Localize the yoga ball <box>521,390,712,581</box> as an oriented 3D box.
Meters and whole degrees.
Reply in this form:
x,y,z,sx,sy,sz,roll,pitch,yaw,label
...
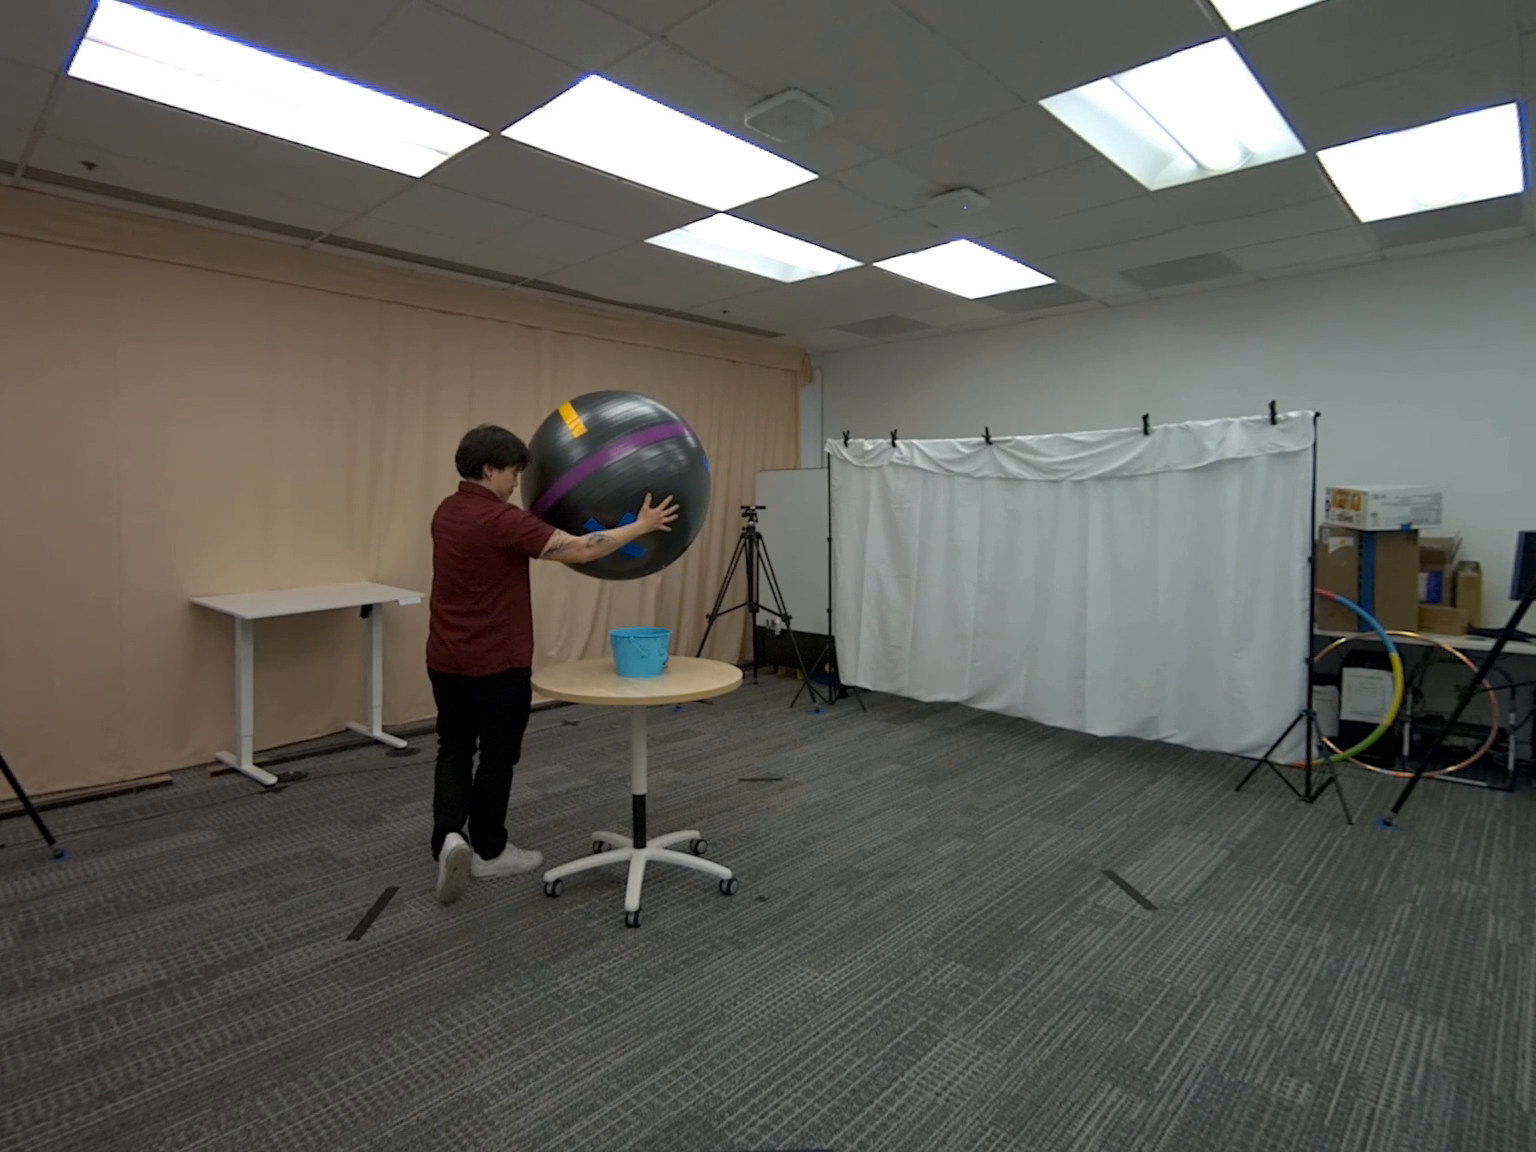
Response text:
x,y,z,sx,sy,sz,roll,pitch,yaw,label
-0.614,-0.351,3.382,0.757,0.756,0.761,0,4,-2,yoga ball
